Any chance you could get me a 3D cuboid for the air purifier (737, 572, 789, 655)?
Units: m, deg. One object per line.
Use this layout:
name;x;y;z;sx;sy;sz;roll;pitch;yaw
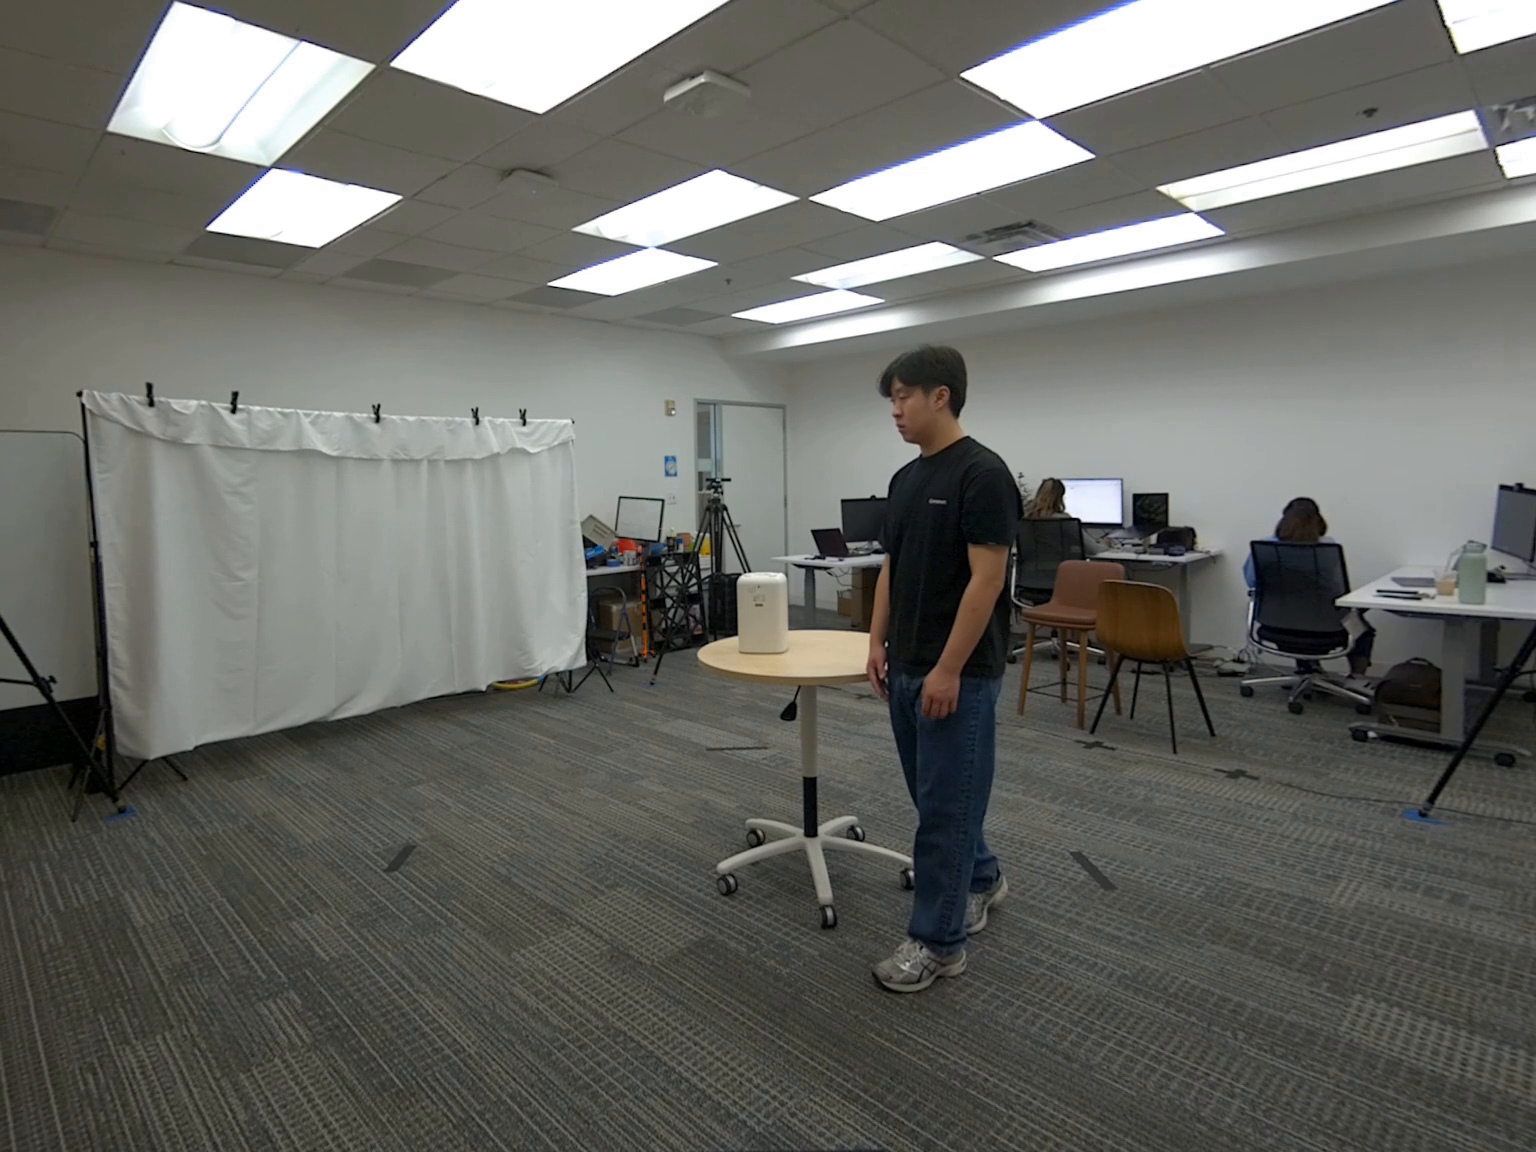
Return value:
air purifier;-0.012;0.127;3.001;0.172;0.265;0.171;0;3;6
